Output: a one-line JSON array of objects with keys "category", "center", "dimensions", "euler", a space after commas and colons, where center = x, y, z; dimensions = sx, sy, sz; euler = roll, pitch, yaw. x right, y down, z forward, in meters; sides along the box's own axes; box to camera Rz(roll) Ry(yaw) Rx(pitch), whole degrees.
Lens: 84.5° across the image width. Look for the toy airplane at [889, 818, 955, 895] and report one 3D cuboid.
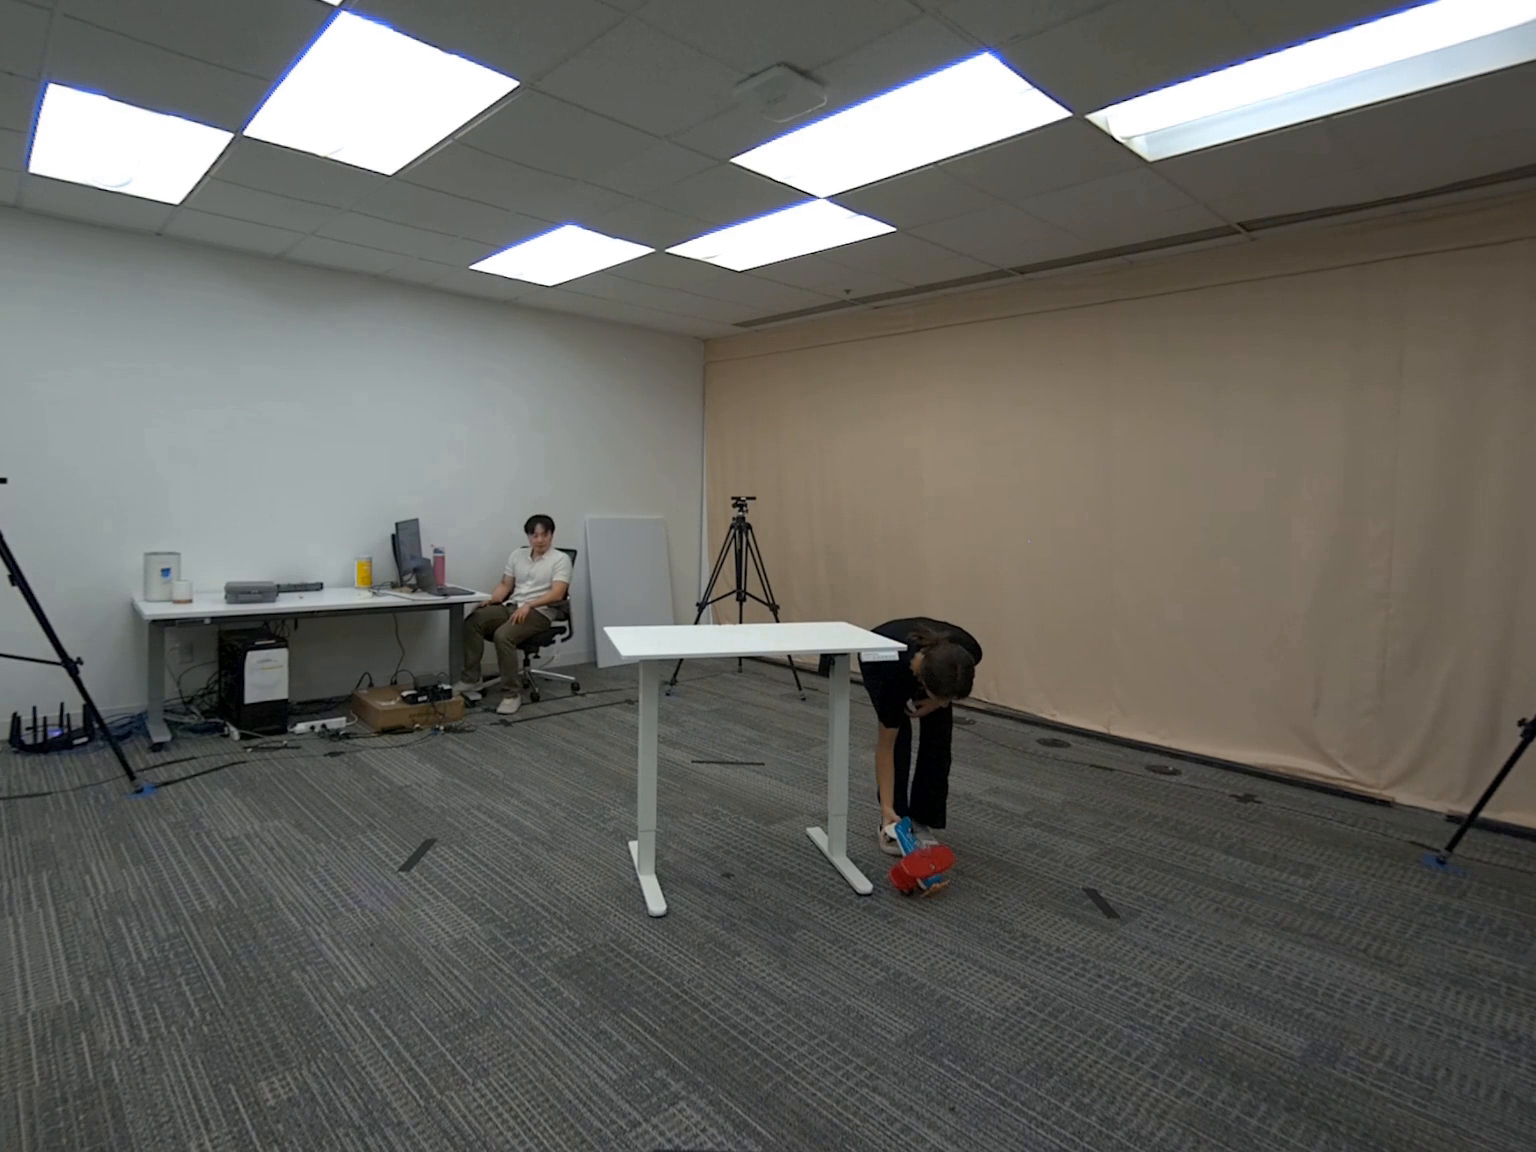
[{"category": "toy airplane", "center": [0.489, 1.006, 2.996], "dimensions": [0.157, 0.260, 0.249], "euler": [-43, -4, 42]}]
